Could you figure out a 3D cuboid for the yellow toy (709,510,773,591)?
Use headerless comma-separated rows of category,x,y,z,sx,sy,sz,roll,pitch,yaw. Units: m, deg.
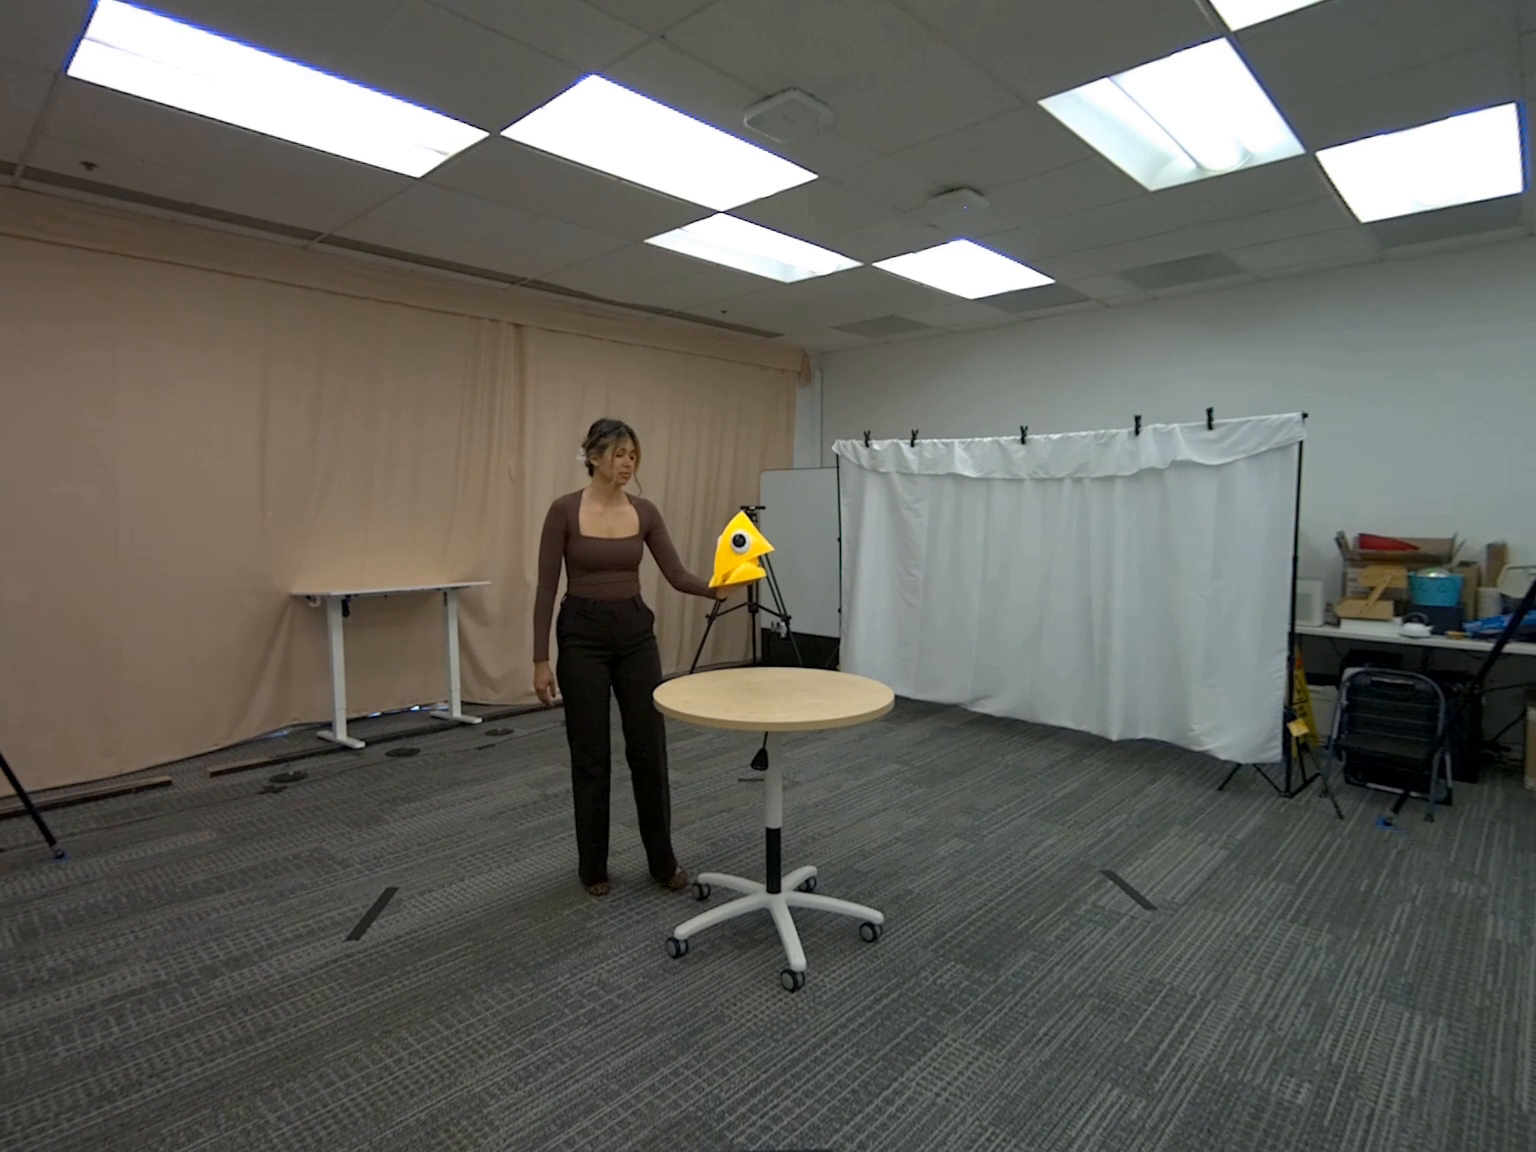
yellow toy,-0.106,-0.098,2.817,0.188,0.231,0.209,-11,-1,-29
